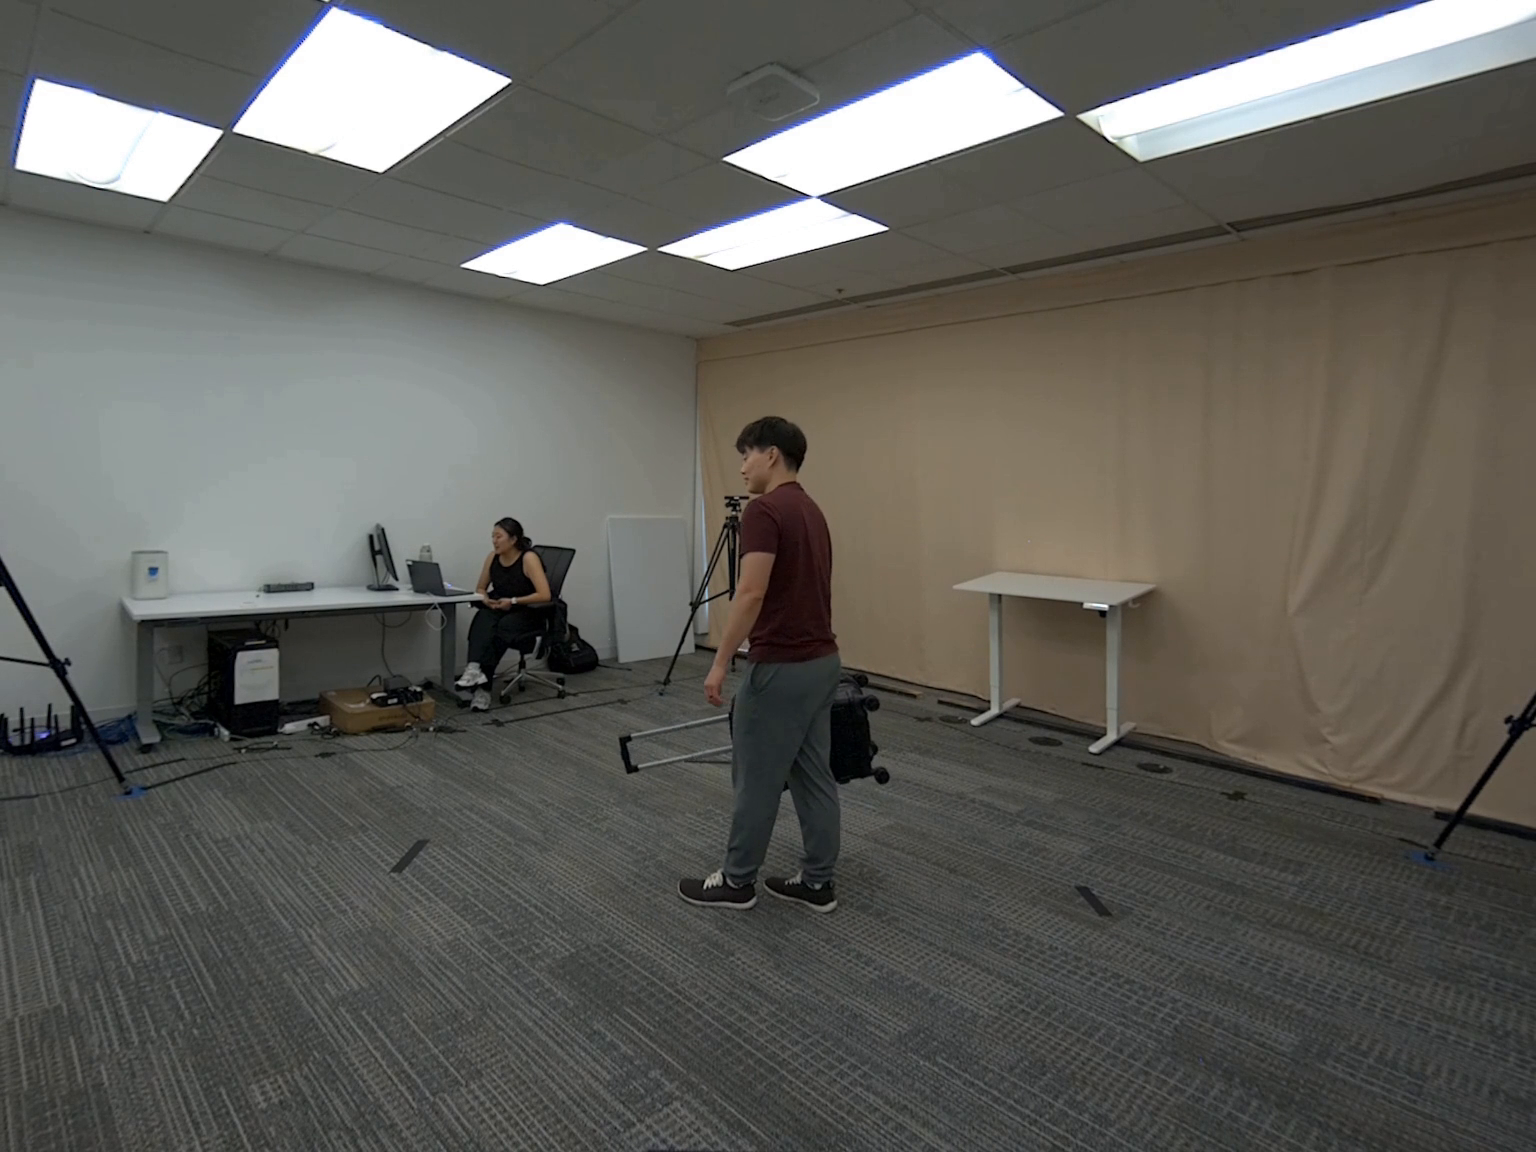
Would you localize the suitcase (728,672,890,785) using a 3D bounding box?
[{"bbox_3d":[-0.073,0.617,3.159,0.978,0.379,0.260,-8,14,-1],"label":"suitcase"}]
